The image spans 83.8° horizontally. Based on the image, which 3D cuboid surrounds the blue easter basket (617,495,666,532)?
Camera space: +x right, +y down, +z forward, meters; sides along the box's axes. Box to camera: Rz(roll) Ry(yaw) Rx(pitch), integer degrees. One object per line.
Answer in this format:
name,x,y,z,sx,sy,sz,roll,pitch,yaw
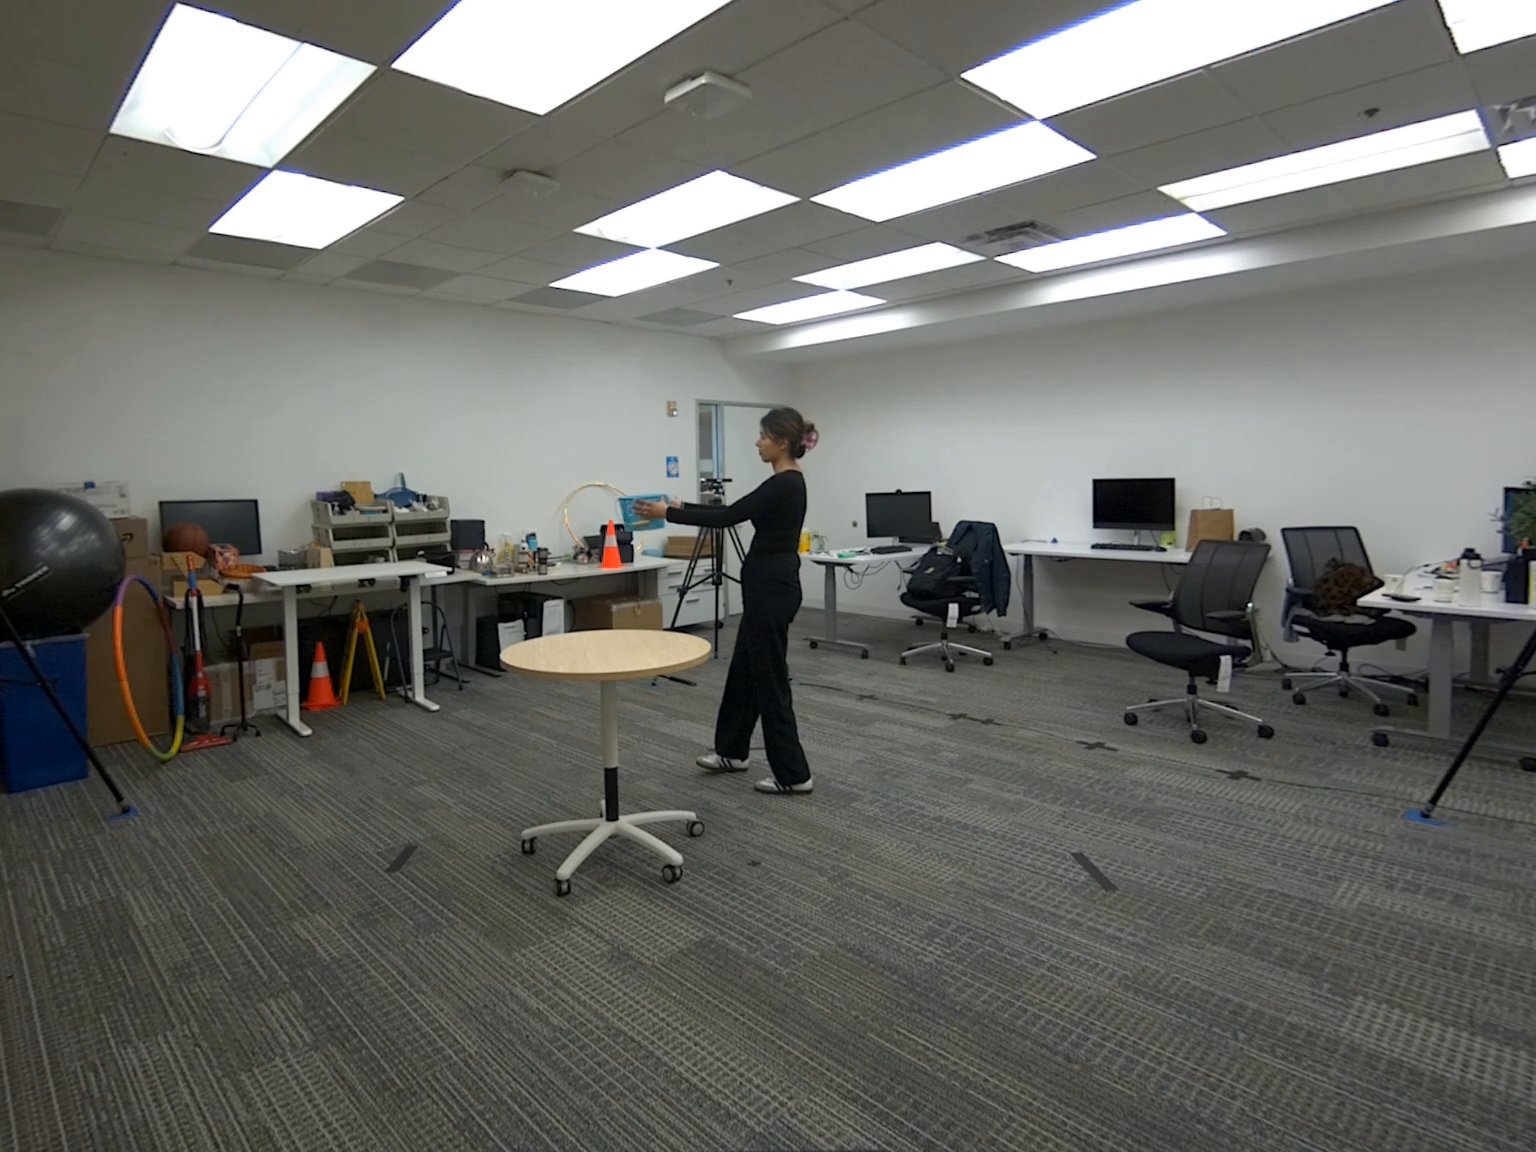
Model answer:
blue easter basket,-0.569,-0.290,3.877,0.243,0.155,0.245,-3,6,-1
